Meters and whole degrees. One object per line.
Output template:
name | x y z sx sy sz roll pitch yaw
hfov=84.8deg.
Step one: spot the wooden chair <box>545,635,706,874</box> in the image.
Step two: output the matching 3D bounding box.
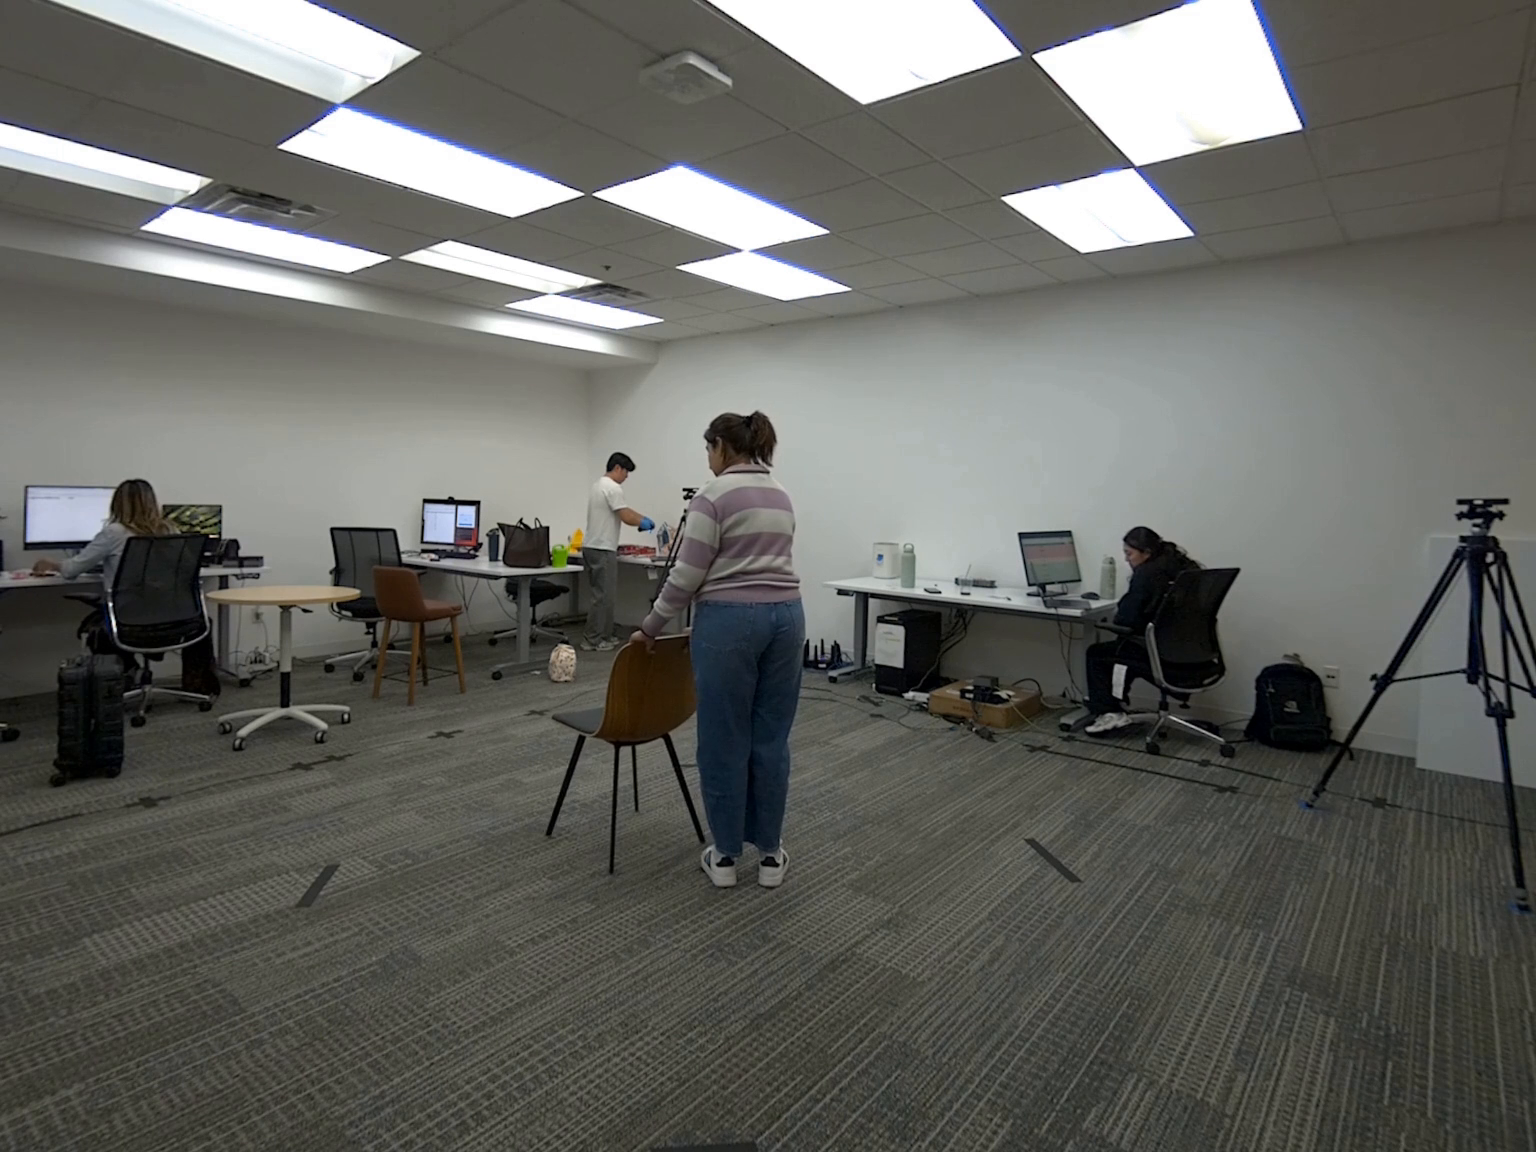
wooden chair | -0.574 0.614 3.346 0.463 0.872 0.542 -2 9 -43
